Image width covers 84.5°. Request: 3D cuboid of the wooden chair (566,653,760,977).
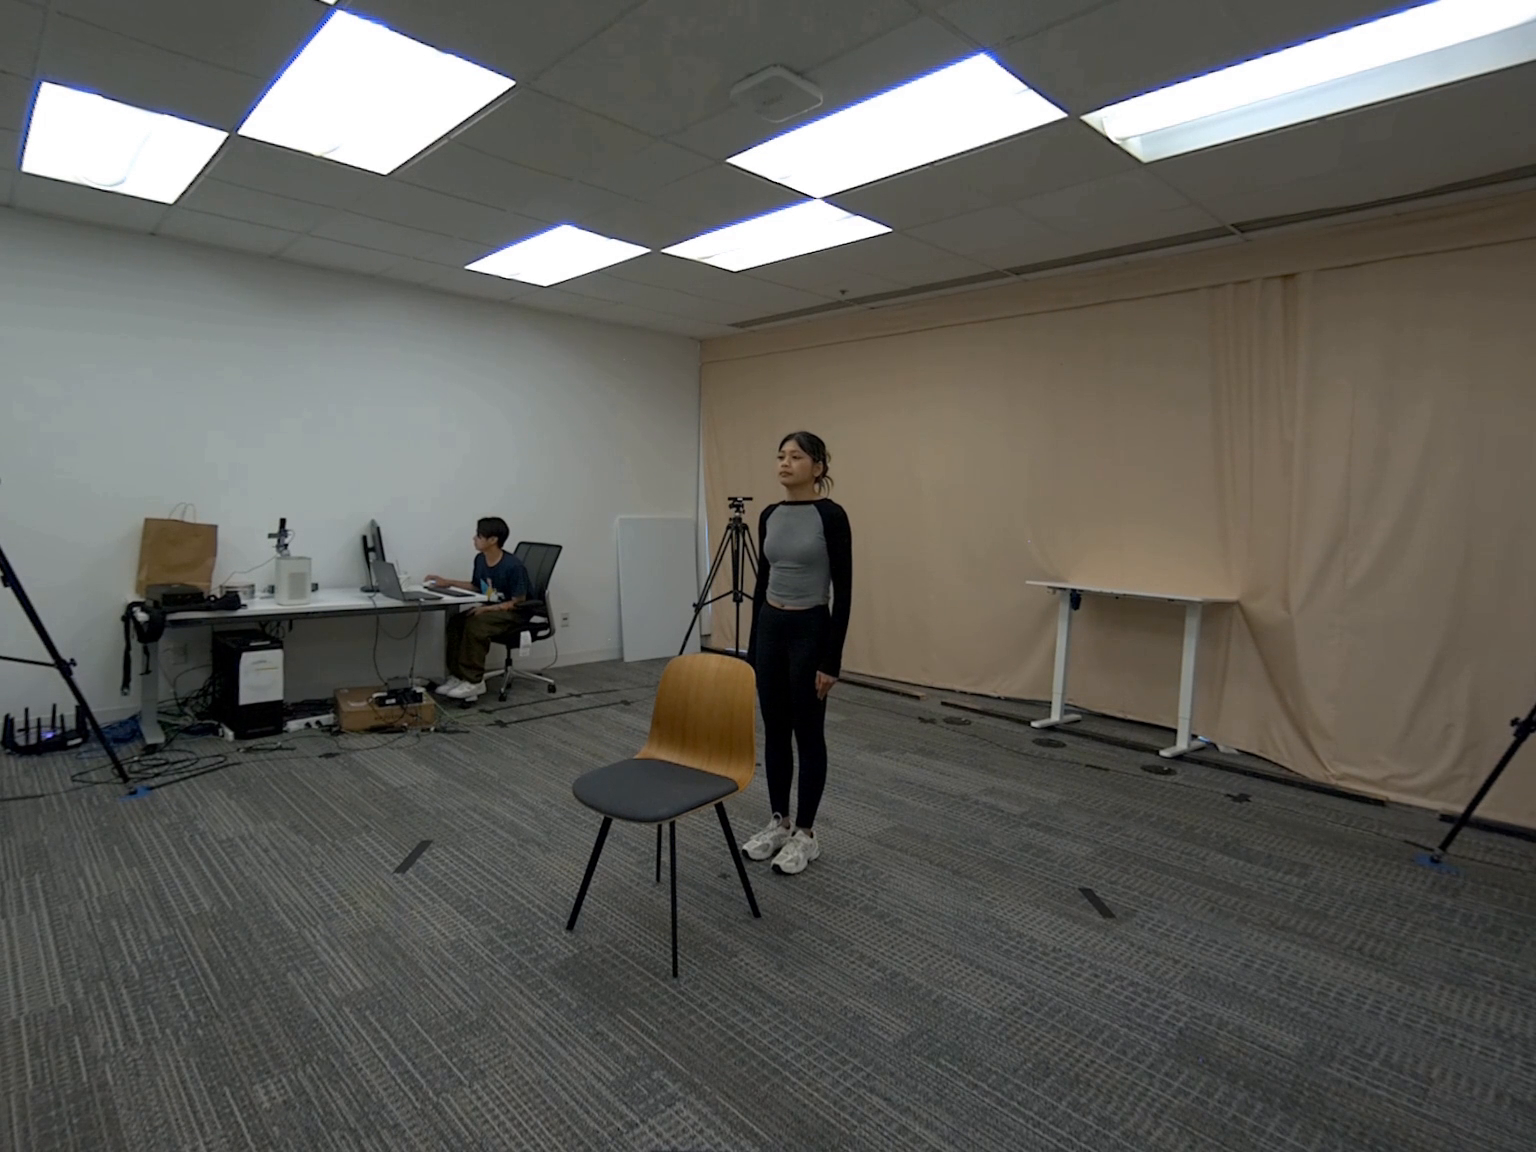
[{"bbox_3d":[-0.329,0.712,2.706,0.489,0.877,0.511,4,0,34],"label":"wooden chair"}]
